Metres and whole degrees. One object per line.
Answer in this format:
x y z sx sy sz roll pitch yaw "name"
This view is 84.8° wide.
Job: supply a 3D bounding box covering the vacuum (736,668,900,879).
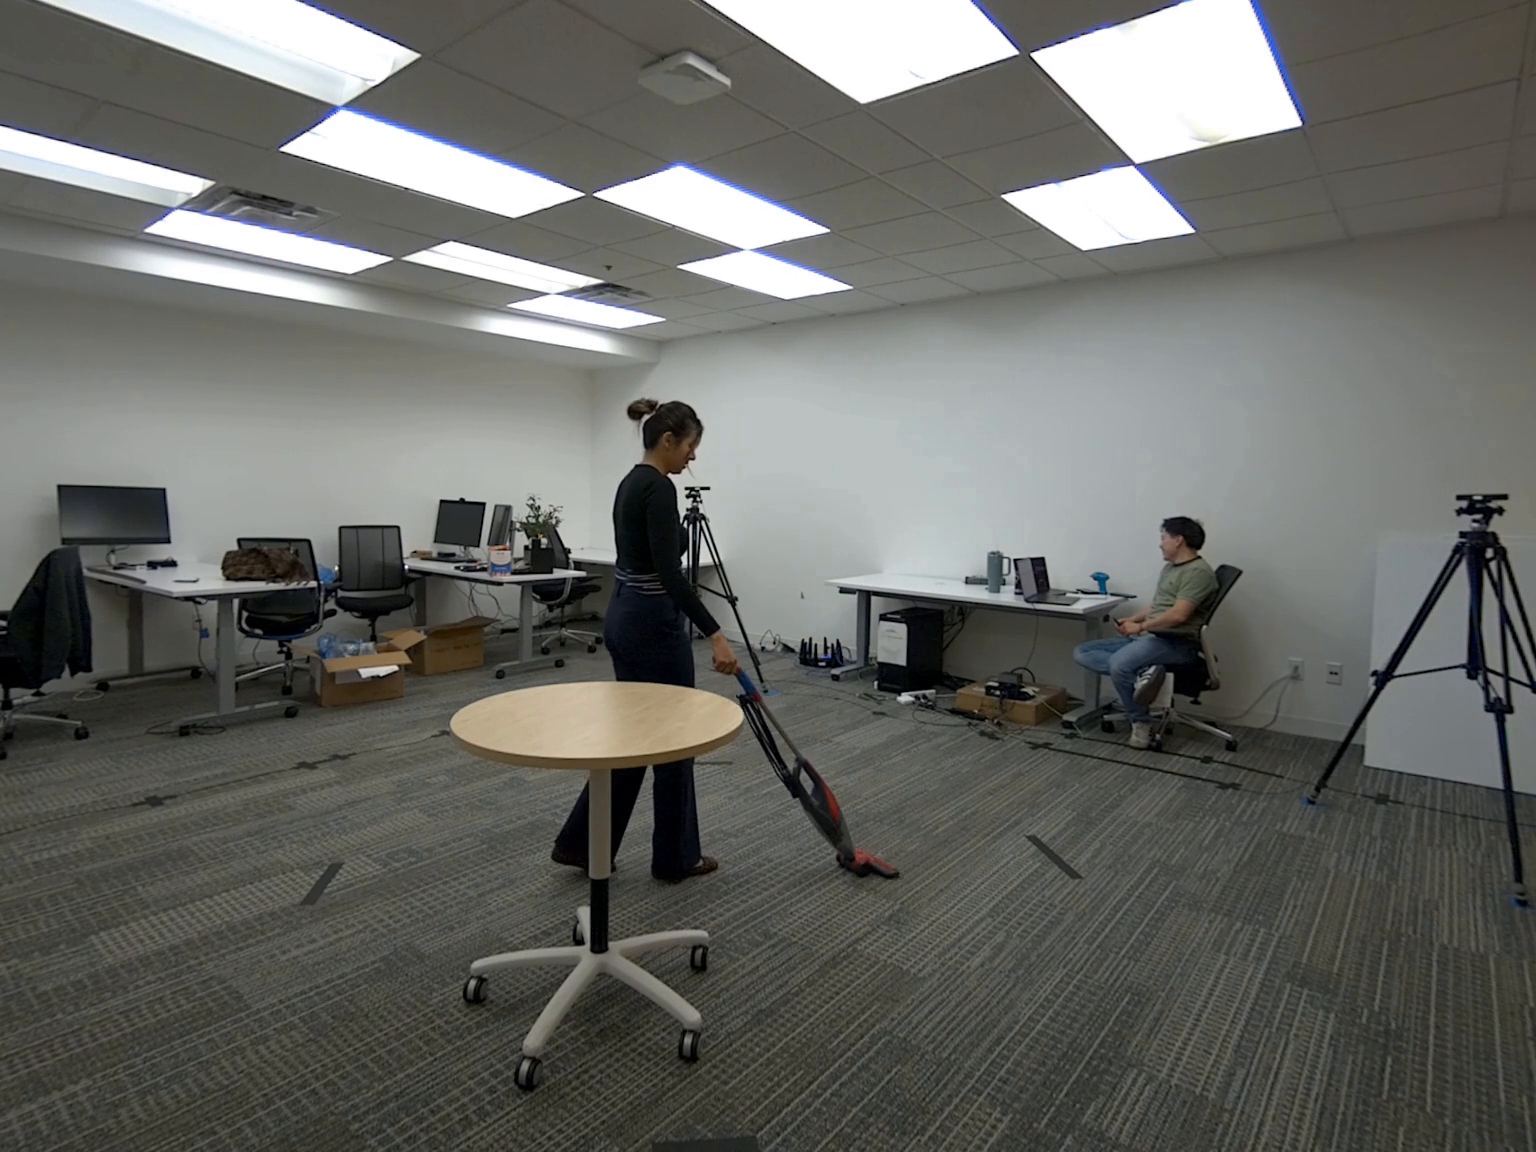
0.086 0.666 2.951 0.143 1.020 0.260 -42 23 -22 "vacuum"
